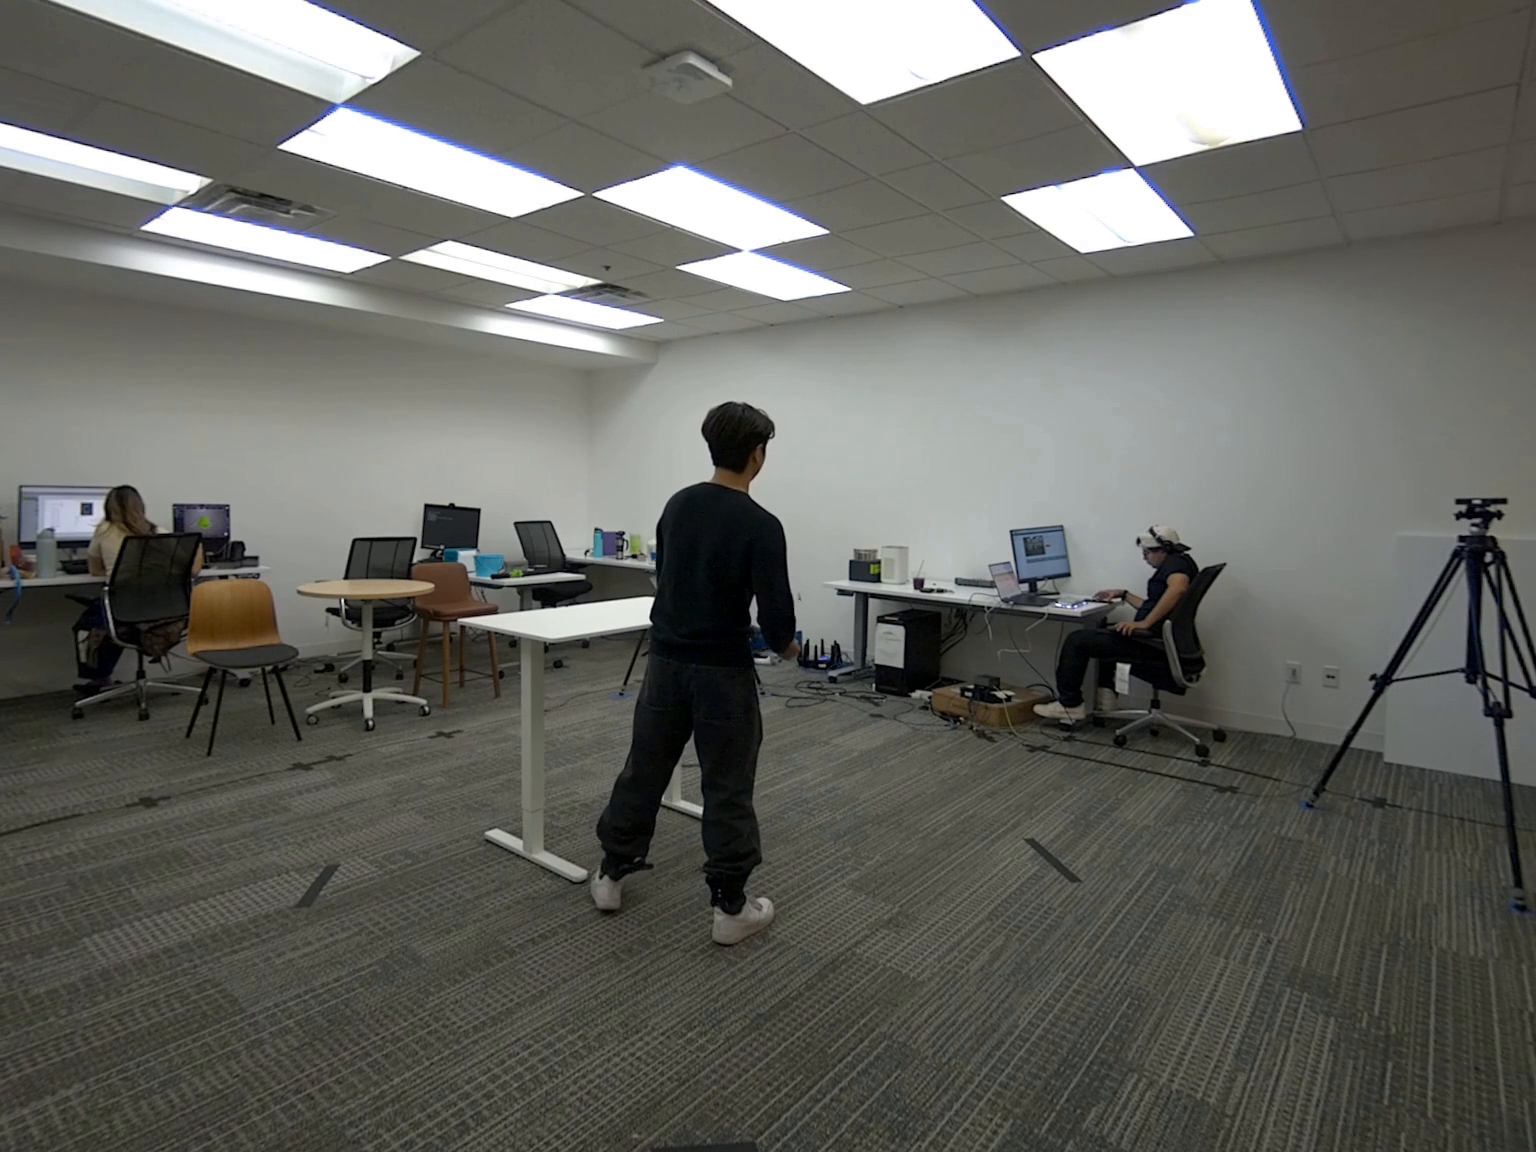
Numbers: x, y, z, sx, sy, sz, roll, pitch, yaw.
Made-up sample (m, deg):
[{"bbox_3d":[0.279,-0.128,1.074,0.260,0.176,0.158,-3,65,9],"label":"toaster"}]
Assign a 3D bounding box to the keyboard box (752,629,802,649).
[{"bbox_3d":[0.020,0.224,3.042,0.177,0.059,0.431,0,-3,5],"label":"keyboard box"}]
